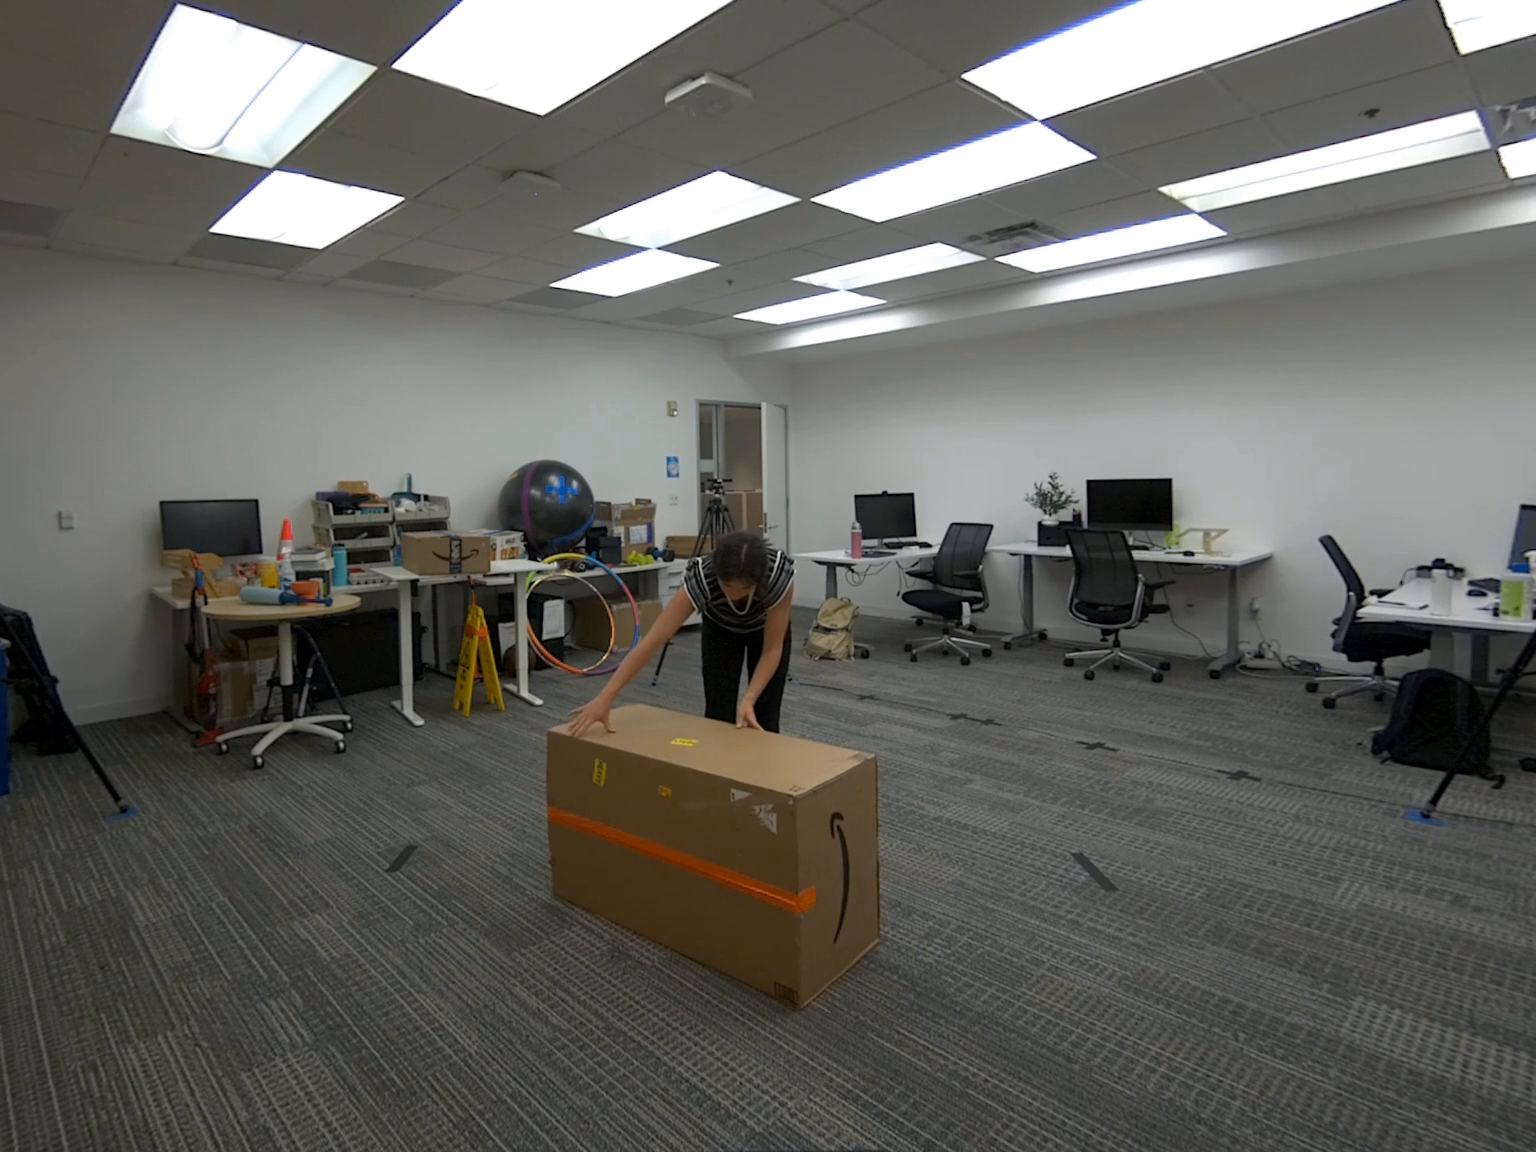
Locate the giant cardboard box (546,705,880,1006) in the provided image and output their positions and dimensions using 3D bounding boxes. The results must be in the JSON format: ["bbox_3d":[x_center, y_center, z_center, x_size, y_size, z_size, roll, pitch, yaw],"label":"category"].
[{"bbox_3d":[-0.204,0.803,2.712,1.056,0.575,0.415,3,6,38],"label":"giant cardboard box"}]
